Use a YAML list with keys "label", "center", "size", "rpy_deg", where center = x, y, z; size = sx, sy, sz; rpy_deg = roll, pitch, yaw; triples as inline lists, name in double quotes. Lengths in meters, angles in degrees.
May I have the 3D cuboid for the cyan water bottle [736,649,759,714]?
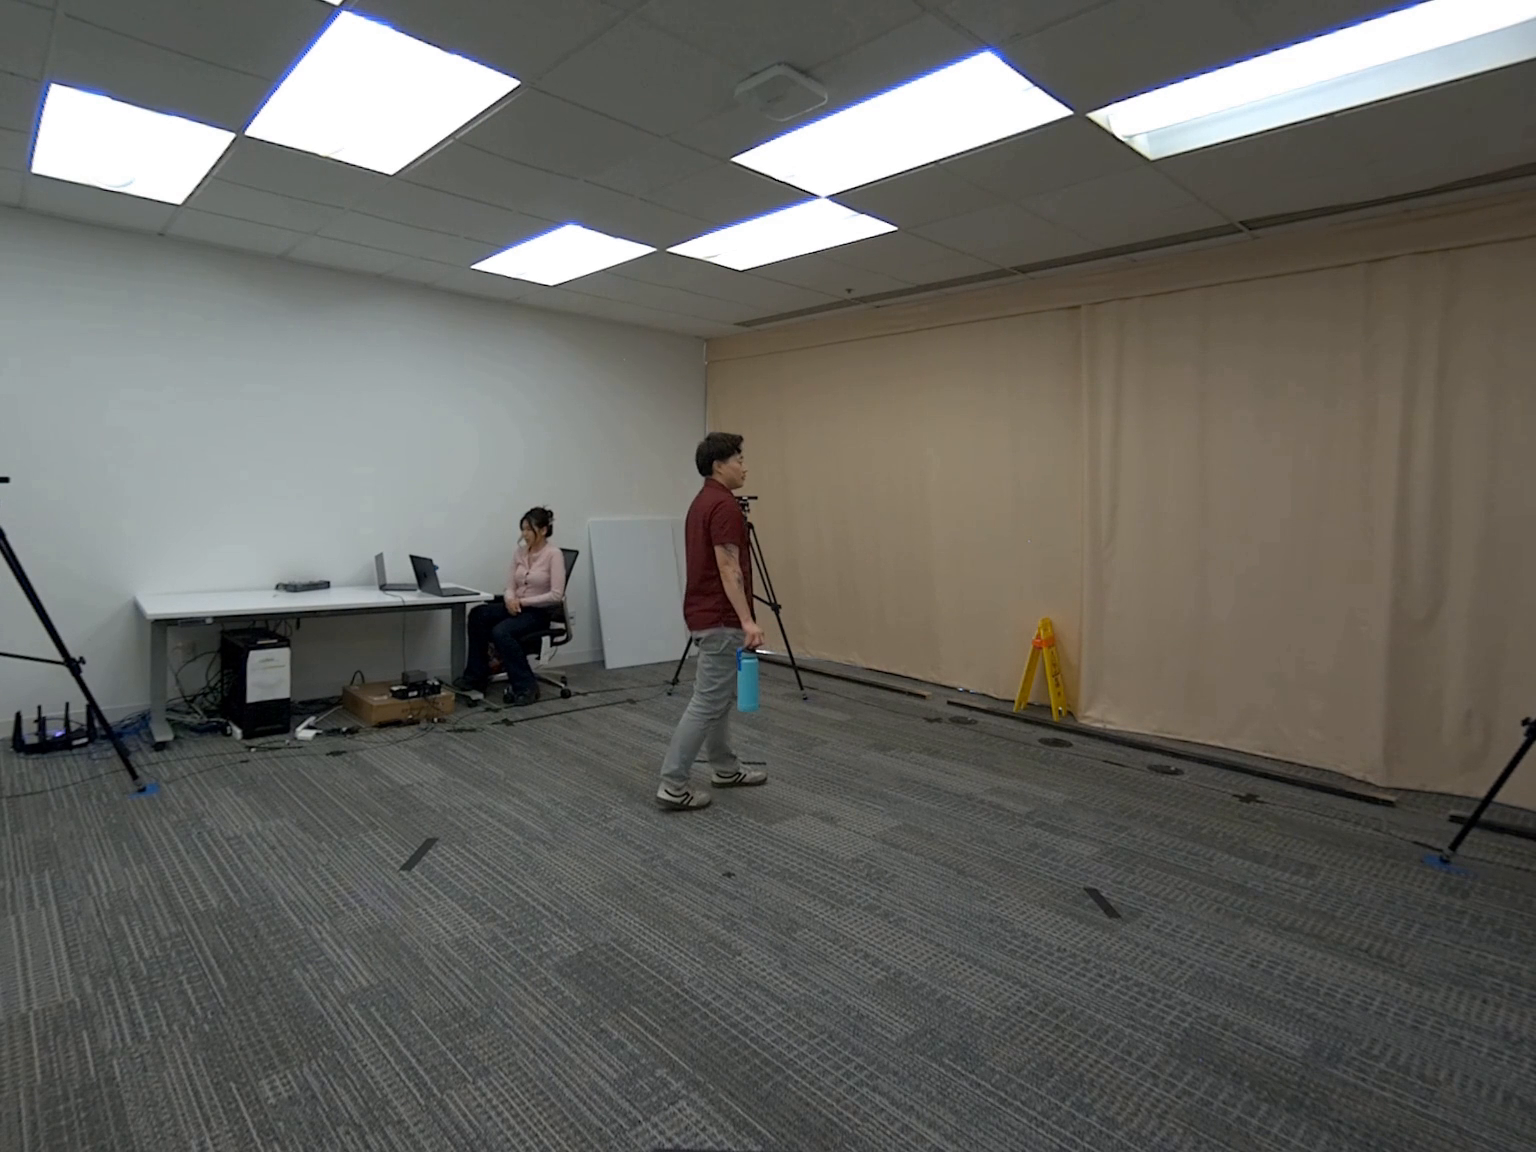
- label: "cyan water bottle"
  center: [-0.097, 0.437, 3.619]
  size: [0.092, 0.282, 0.092]
  rpy_deg: [2, 4, -2]
